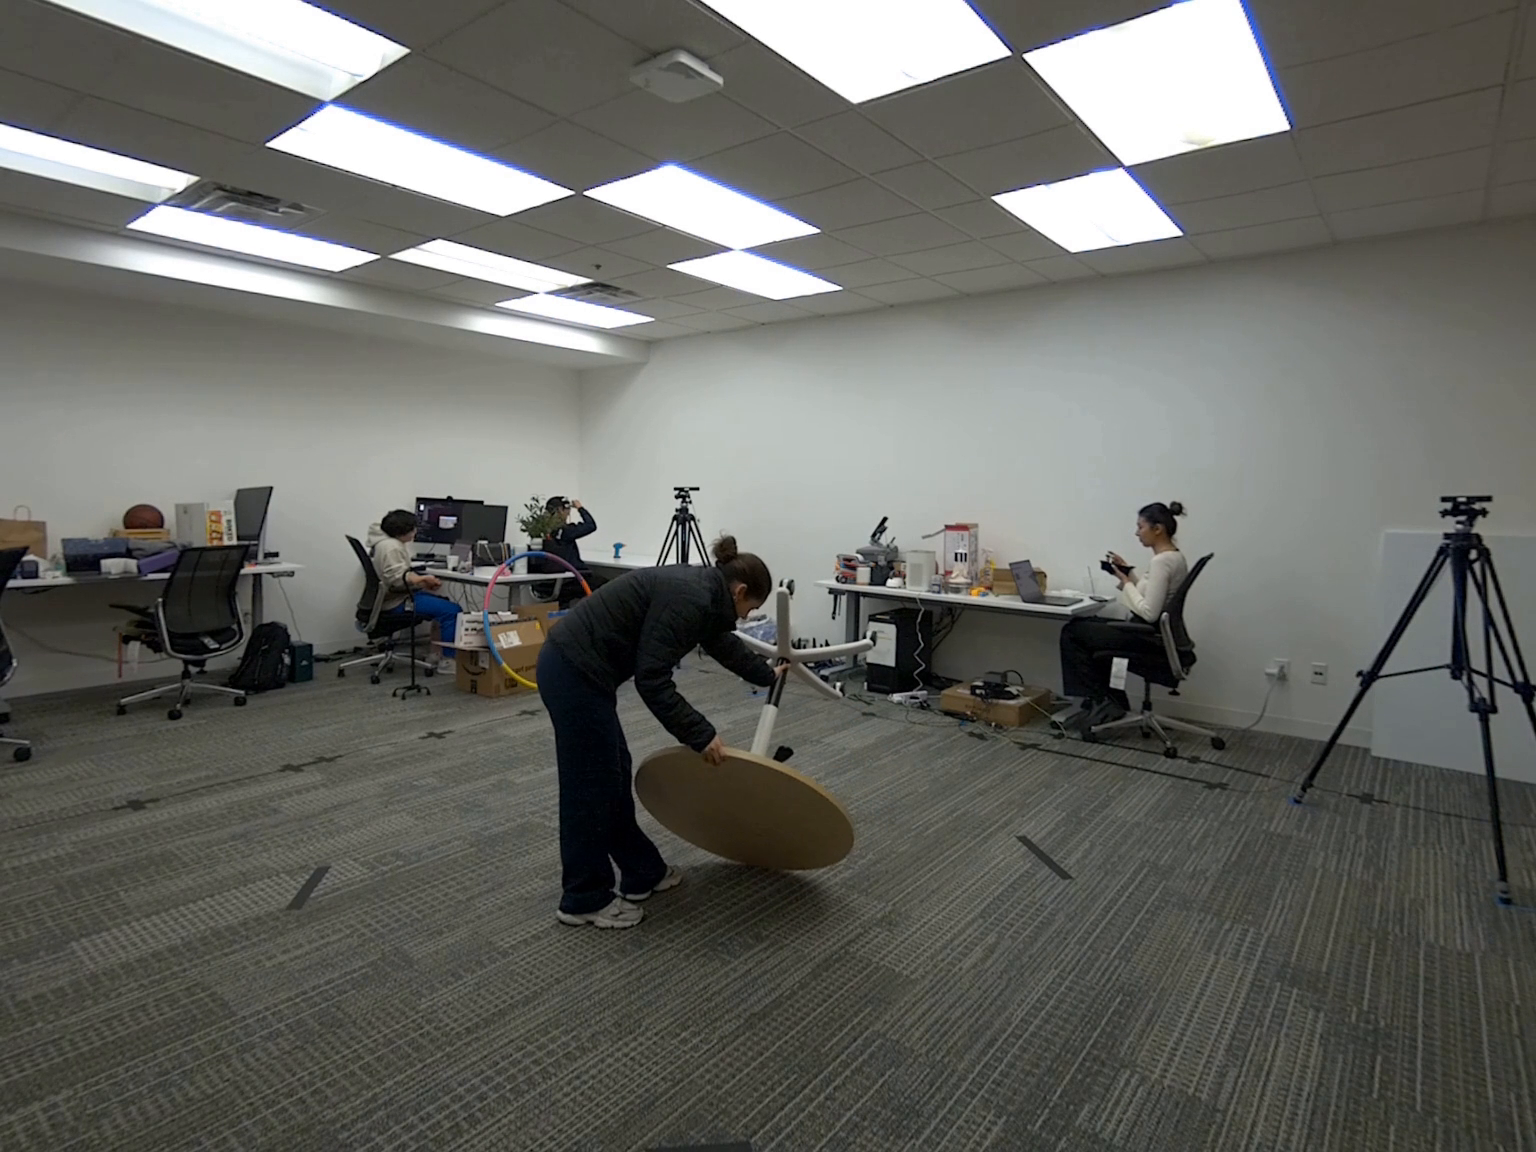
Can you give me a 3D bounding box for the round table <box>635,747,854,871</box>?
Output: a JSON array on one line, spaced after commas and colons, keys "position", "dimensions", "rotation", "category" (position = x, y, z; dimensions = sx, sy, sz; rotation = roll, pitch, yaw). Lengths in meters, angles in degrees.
[{"position": [0.014, 0.512, 3.141], "dimensions": [0.802, 0.756, 0.799], "rotation": [2, 46, 19], "category": "round table"}]
